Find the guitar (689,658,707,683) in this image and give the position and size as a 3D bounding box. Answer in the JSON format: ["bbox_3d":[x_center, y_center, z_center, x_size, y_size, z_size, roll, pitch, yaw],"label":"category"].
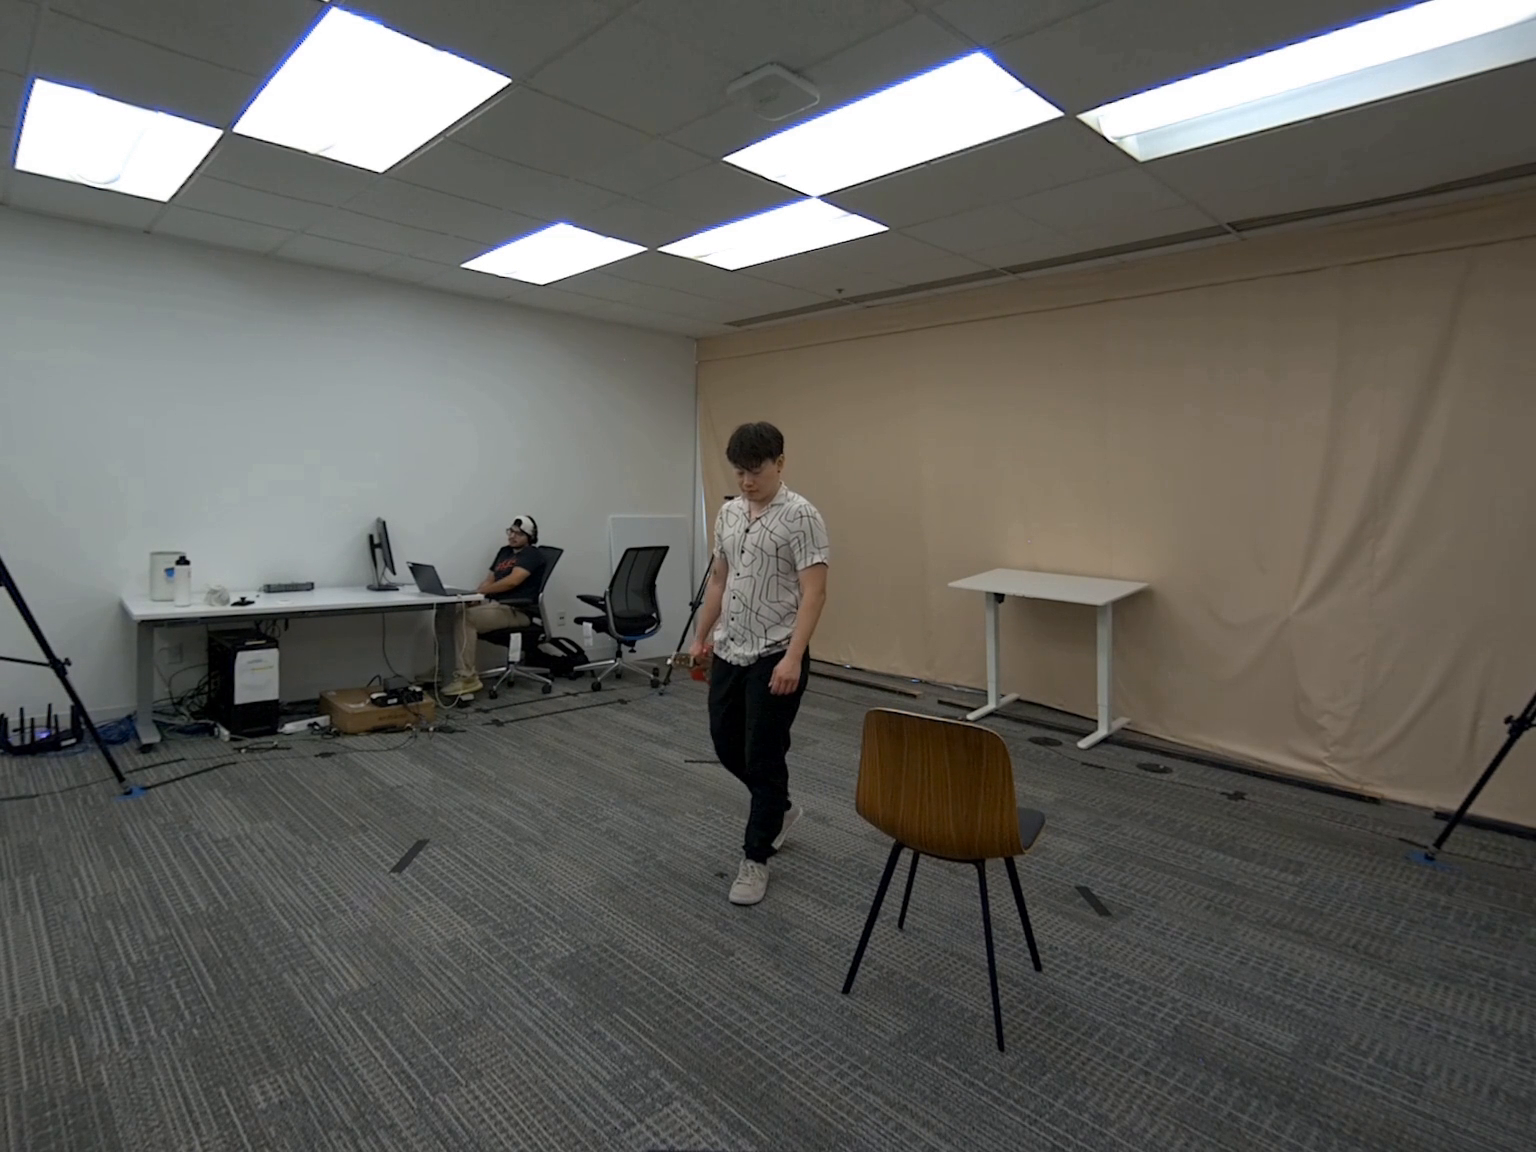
[{"bbox_3d":[-0.264,0.321,3.315,0.072,0.194,0.484,7,-15,27],"label":"guitar"}]
